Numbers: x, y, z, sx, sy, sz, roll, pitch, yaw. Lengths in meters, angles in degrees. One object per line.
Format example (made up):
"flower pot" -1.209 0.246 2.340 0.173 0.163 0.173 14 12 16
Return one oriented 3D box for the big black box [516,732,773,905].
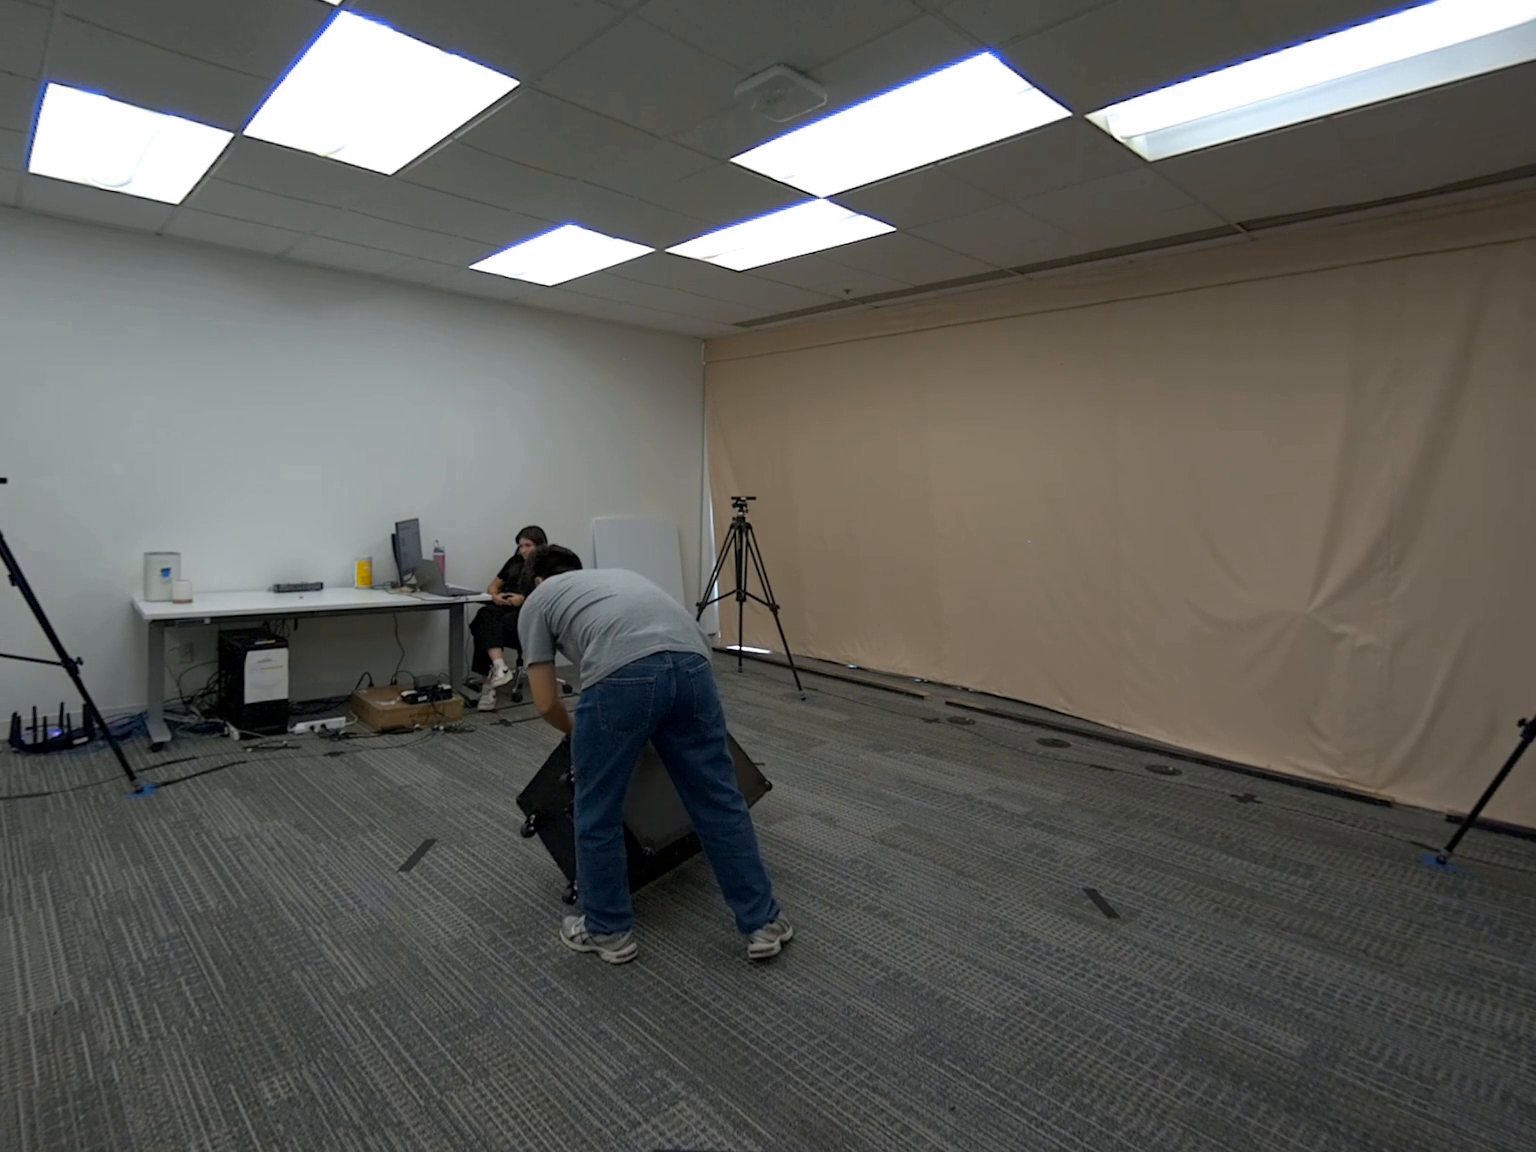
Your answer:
"big black box" -0.462 0.811 3.078 0.532 0.395 0.845 48 24 19
